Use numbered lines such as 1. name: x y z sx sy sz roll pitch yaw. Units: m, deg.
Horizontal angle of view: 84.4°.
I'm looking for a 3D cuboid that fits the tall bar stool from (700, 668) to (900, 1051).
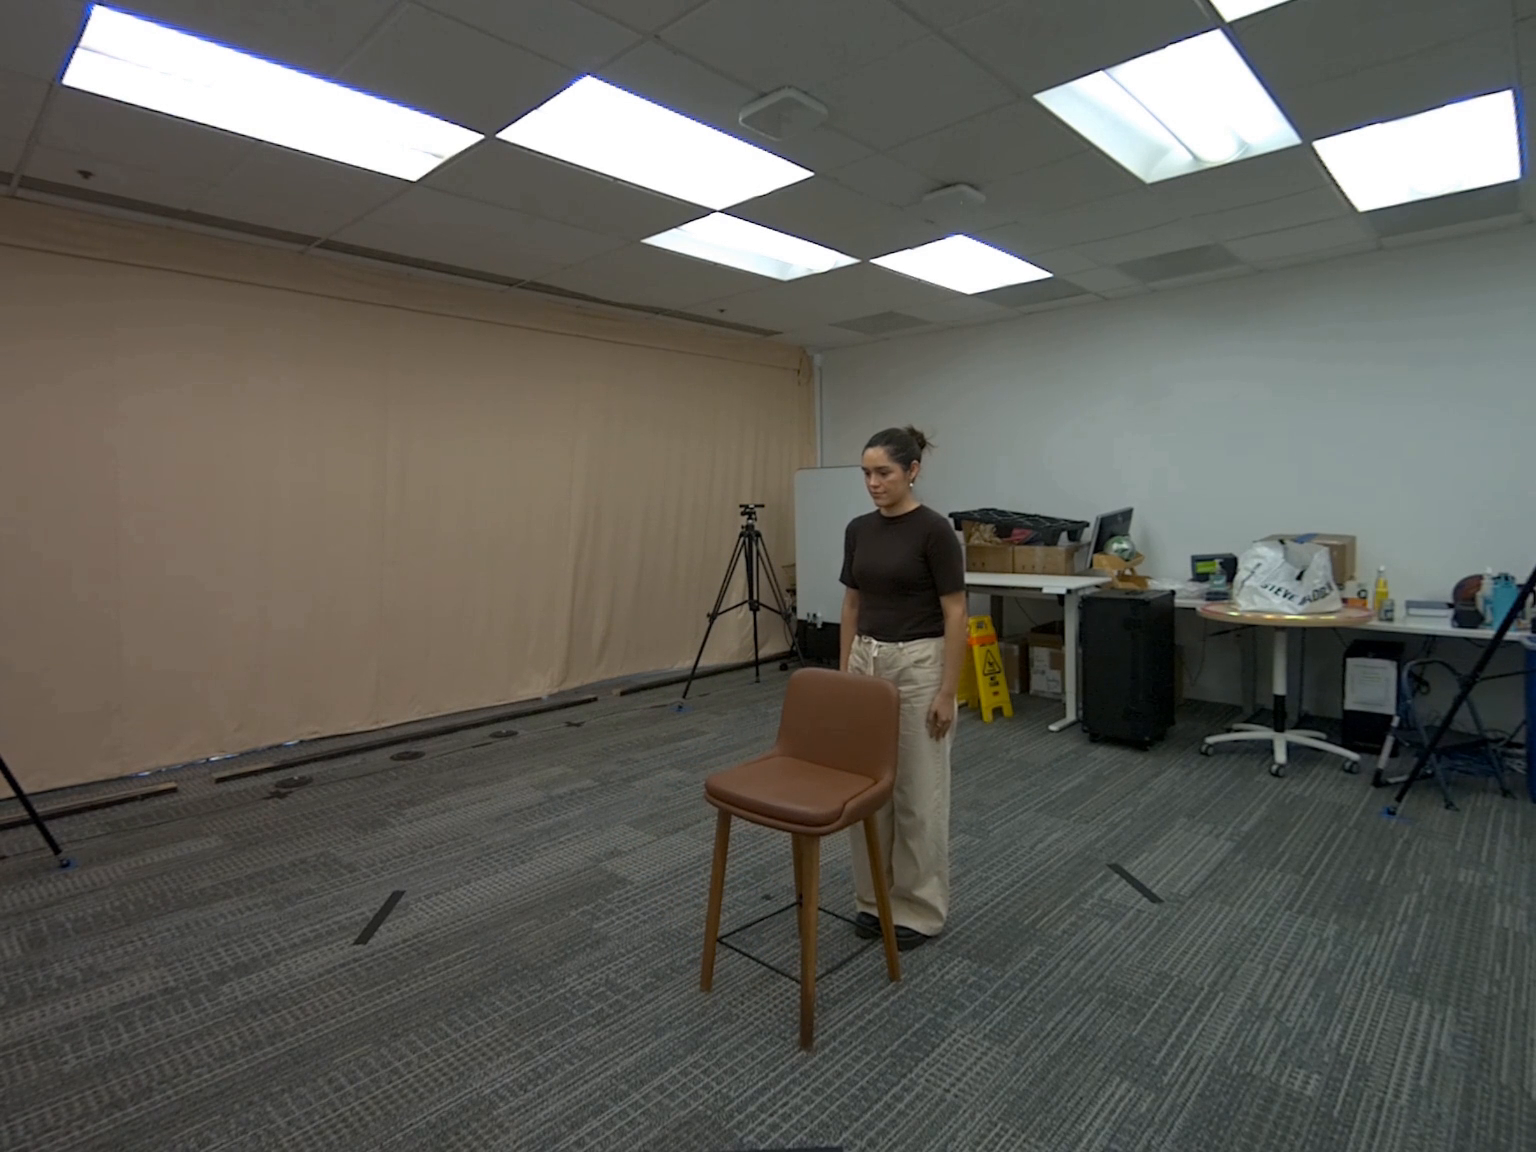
1. tall bar stool: 0.109 0.748 2.418 0.472 0.888 0.453 4 3 44
